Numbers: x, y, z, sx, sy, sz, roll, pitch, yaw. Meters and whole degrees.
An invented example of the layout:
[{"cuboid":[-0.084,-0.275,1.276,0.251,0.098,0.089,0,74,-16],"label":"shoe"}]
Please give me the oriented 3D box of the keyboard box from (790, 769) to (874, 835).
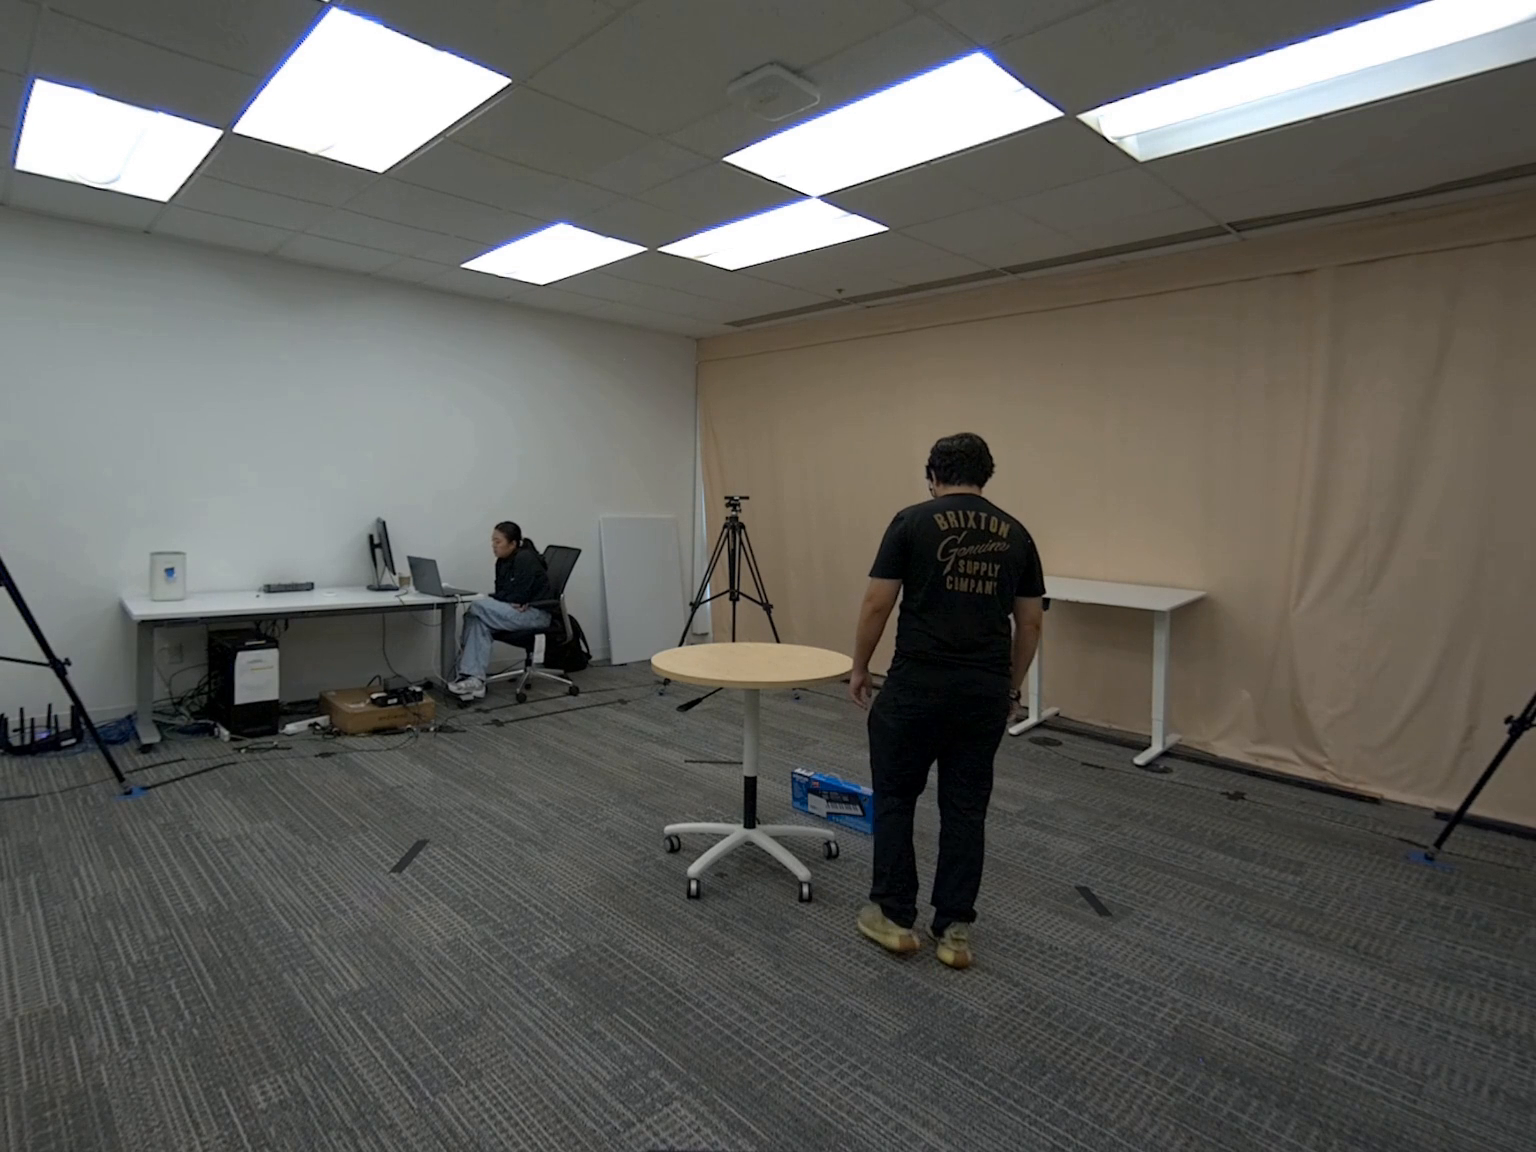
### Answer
[{"cuboid":[0.281,0.980,3.680,0.448,0.175,0.058,5,10,43],"label":"keyboard box"}]
